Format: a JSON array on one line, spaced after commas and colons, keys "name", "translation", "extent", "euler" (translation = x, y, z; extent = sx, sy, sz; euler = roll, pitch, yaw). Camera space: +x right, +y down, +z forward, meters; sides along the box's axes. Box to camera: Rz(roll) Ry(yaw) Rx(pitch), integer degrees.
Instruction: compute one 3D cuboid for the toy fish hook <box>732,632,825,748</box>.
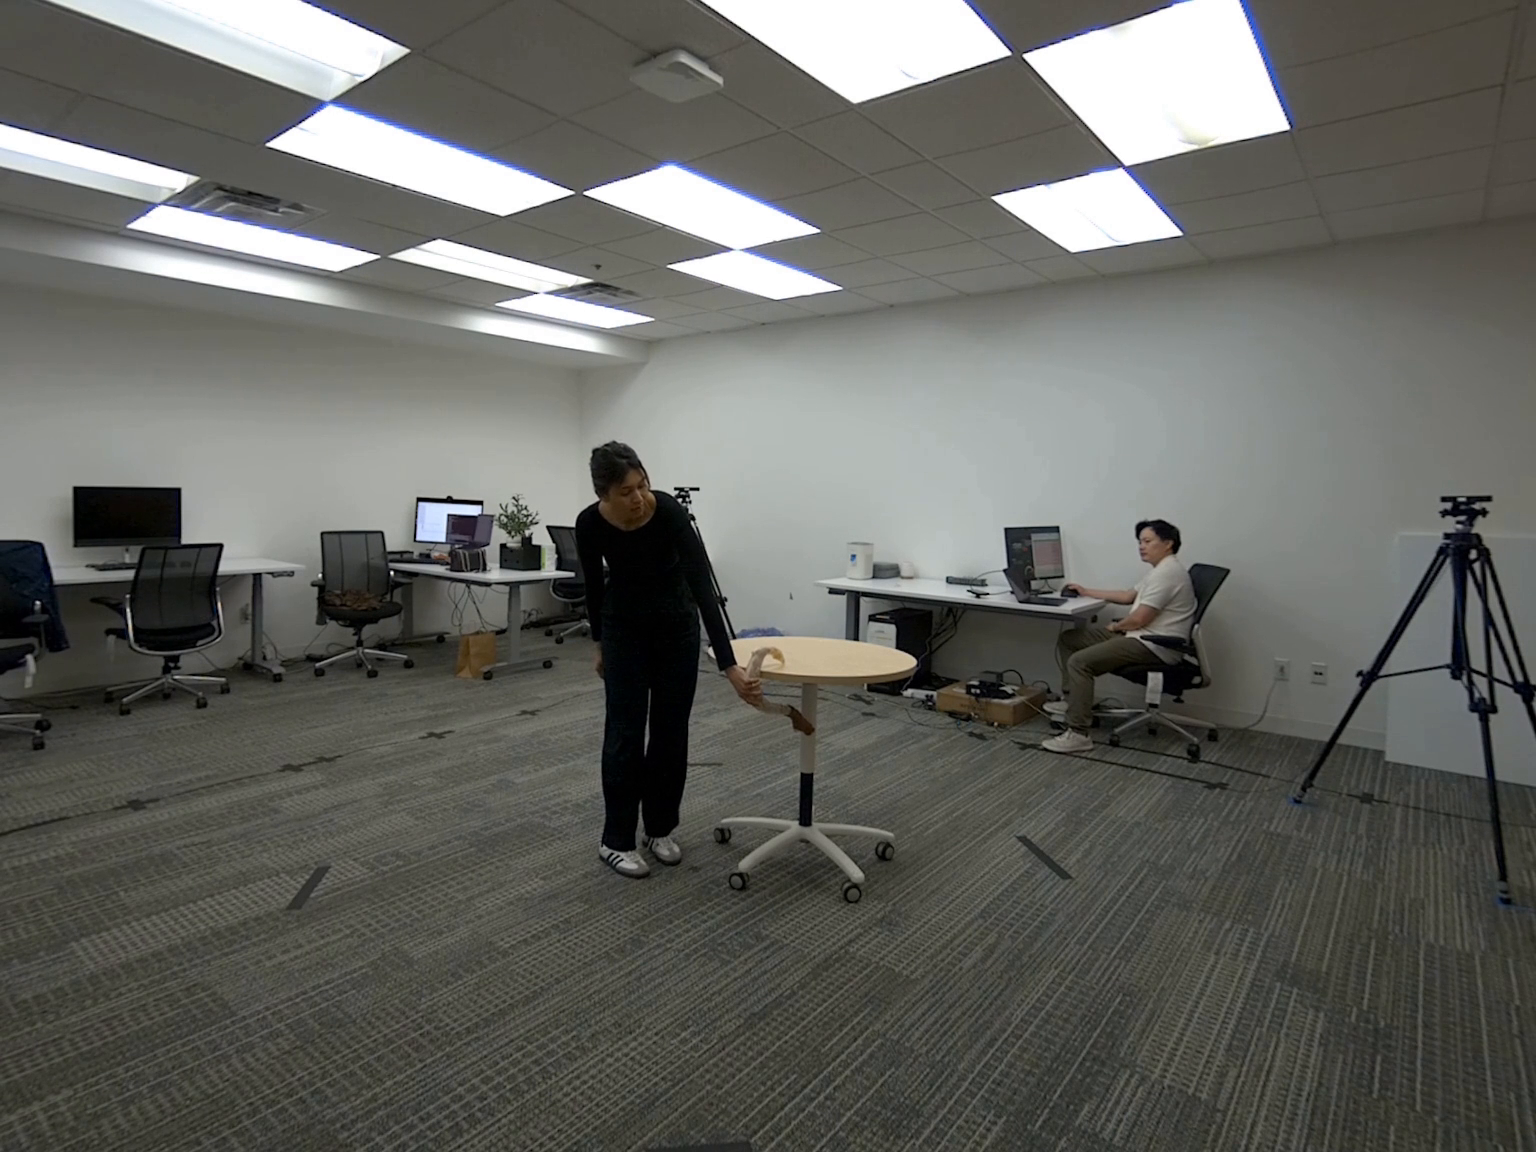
[{"name": "toy fish hook", "translation": [0.047, 0.406, 2.949], "extent": [0.050, 0.227, 0.485], "euler": [2, -27, 33]}]
